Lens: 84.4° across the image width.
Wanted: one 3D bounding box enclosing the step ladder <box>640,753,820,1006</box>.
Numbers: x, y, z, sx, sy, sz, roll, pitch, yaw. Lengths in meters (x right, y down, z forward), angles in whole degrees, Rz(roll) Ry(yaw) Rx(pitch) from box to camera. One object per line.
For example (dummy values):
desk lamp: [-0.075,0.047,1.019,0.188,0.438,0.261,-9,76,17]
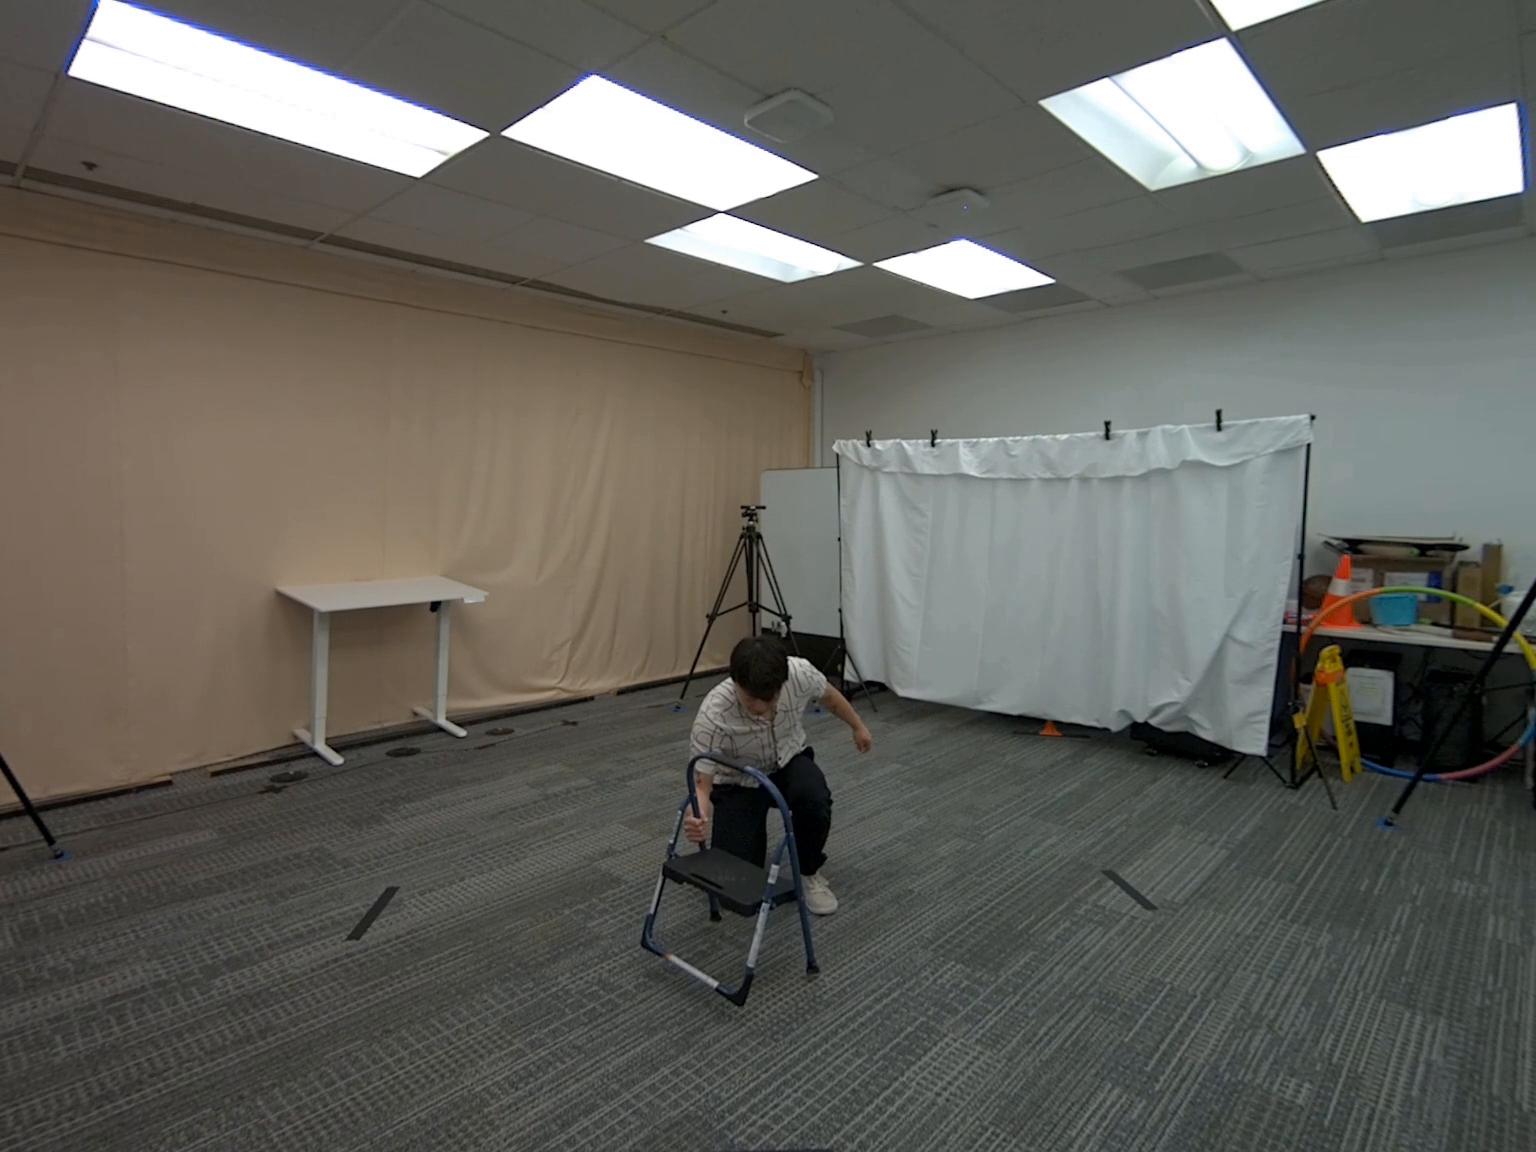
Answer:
step ladder: [-0.090,0.832,2.495,0.445,0.606,0.338,7,2,41]
